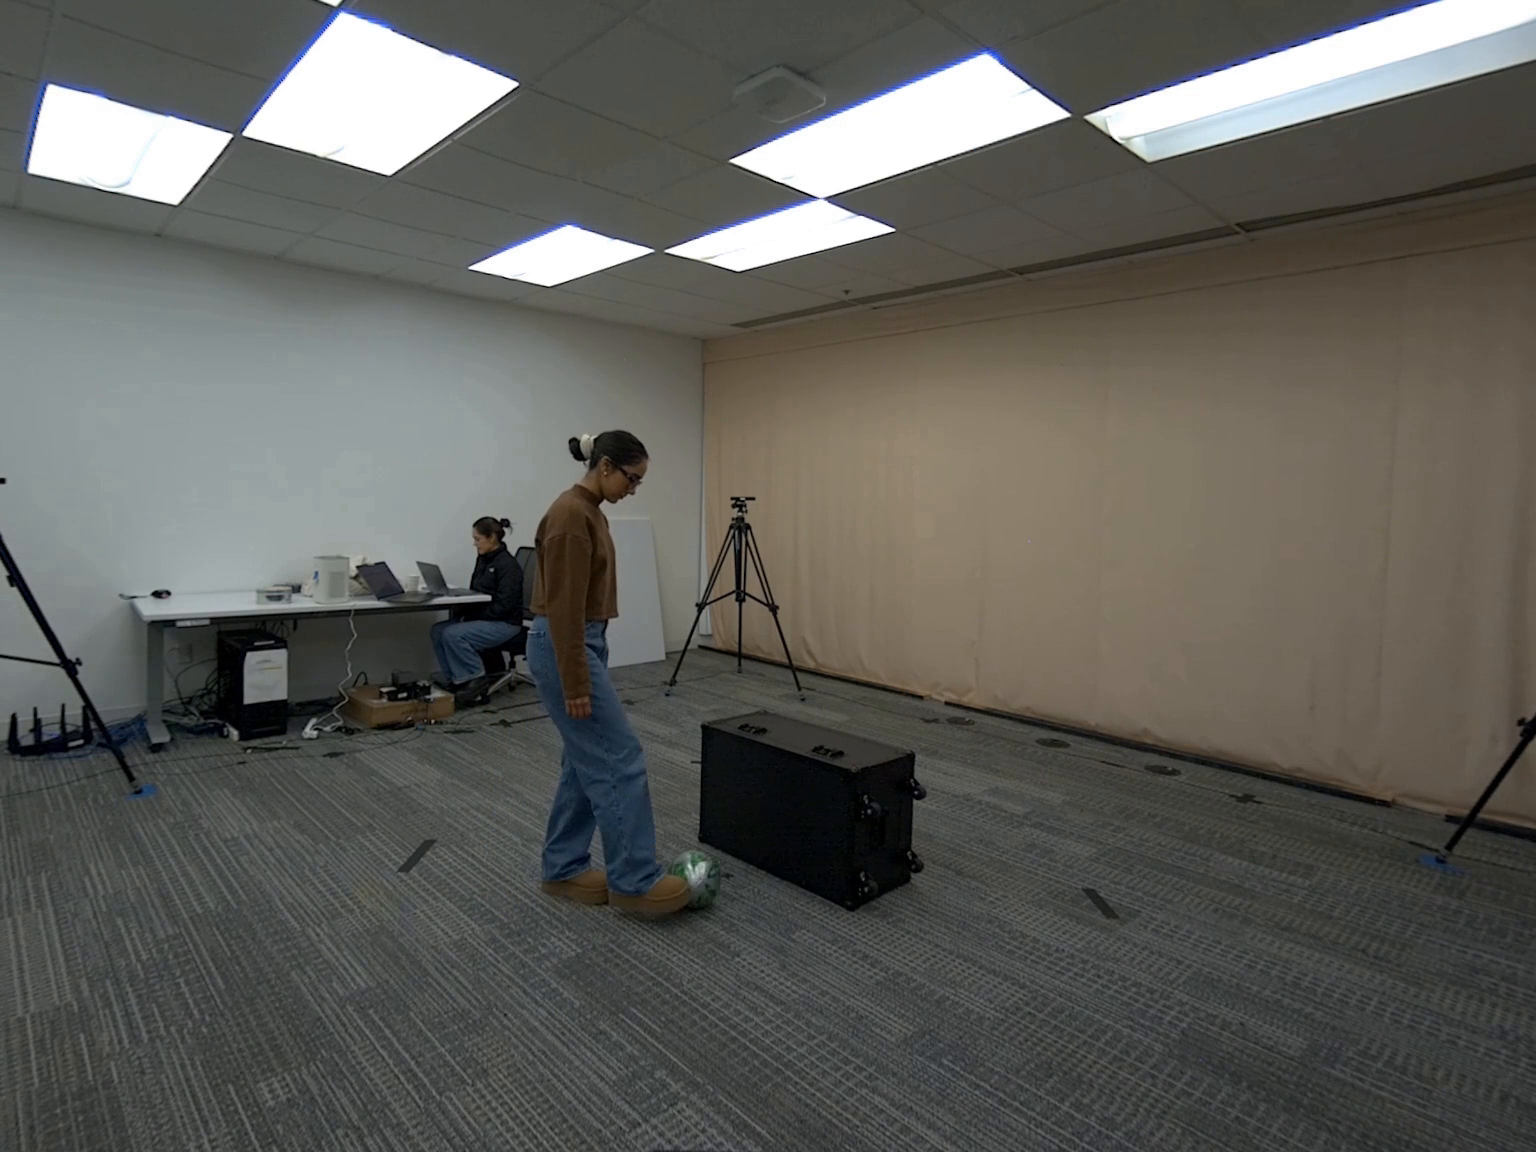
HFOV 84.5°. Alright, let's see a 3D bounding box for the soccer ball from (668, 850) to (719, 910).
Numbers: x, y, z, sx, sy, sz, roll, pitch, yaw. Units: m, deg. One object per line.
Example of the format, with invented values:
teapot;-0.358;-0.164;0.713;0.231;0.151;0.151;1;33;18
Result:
soccer ball;-0.267;1.027;2.879;0.187;0.187;0.188;1;4;-1
